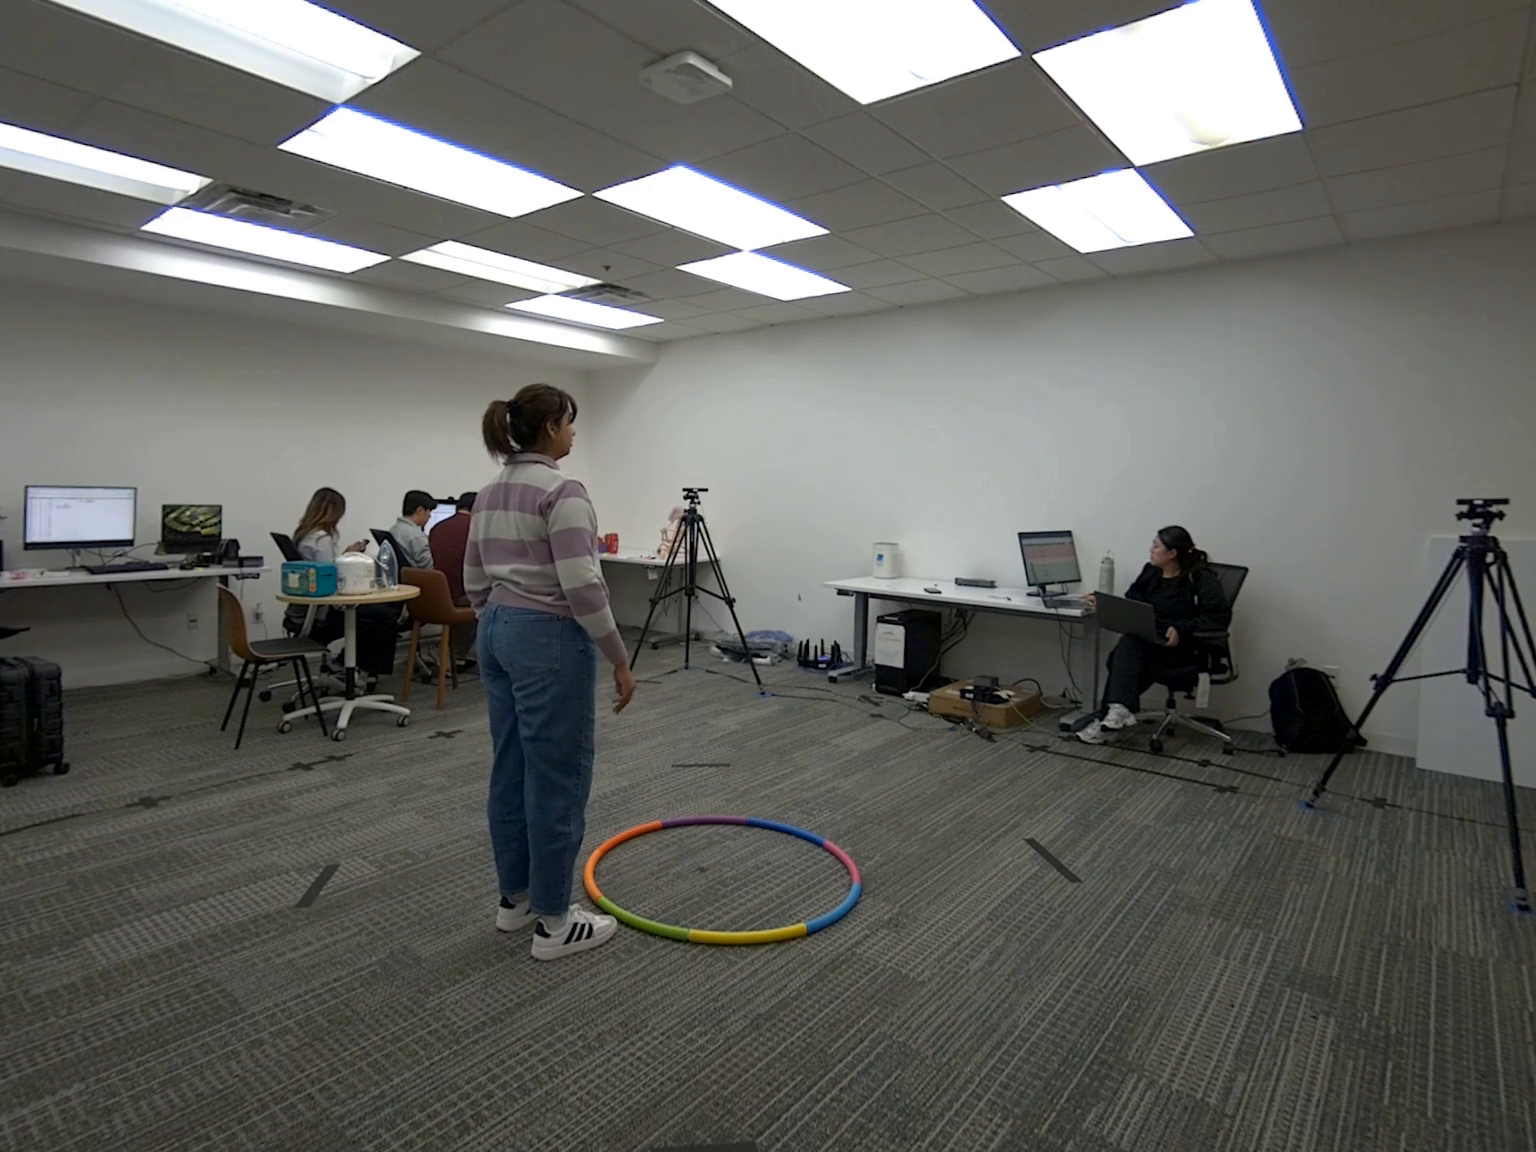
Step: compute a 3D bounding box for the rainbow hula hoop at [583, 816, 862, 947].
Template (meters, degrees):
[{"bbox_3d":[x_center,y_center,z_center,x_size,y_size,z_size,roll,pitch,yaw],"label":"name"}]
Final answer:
[{"bbox_3d":[-0.172,1.047,3.060,0.984,0.051,0.991,0,6,-2],"label":"rainbow hula hoop"}]
